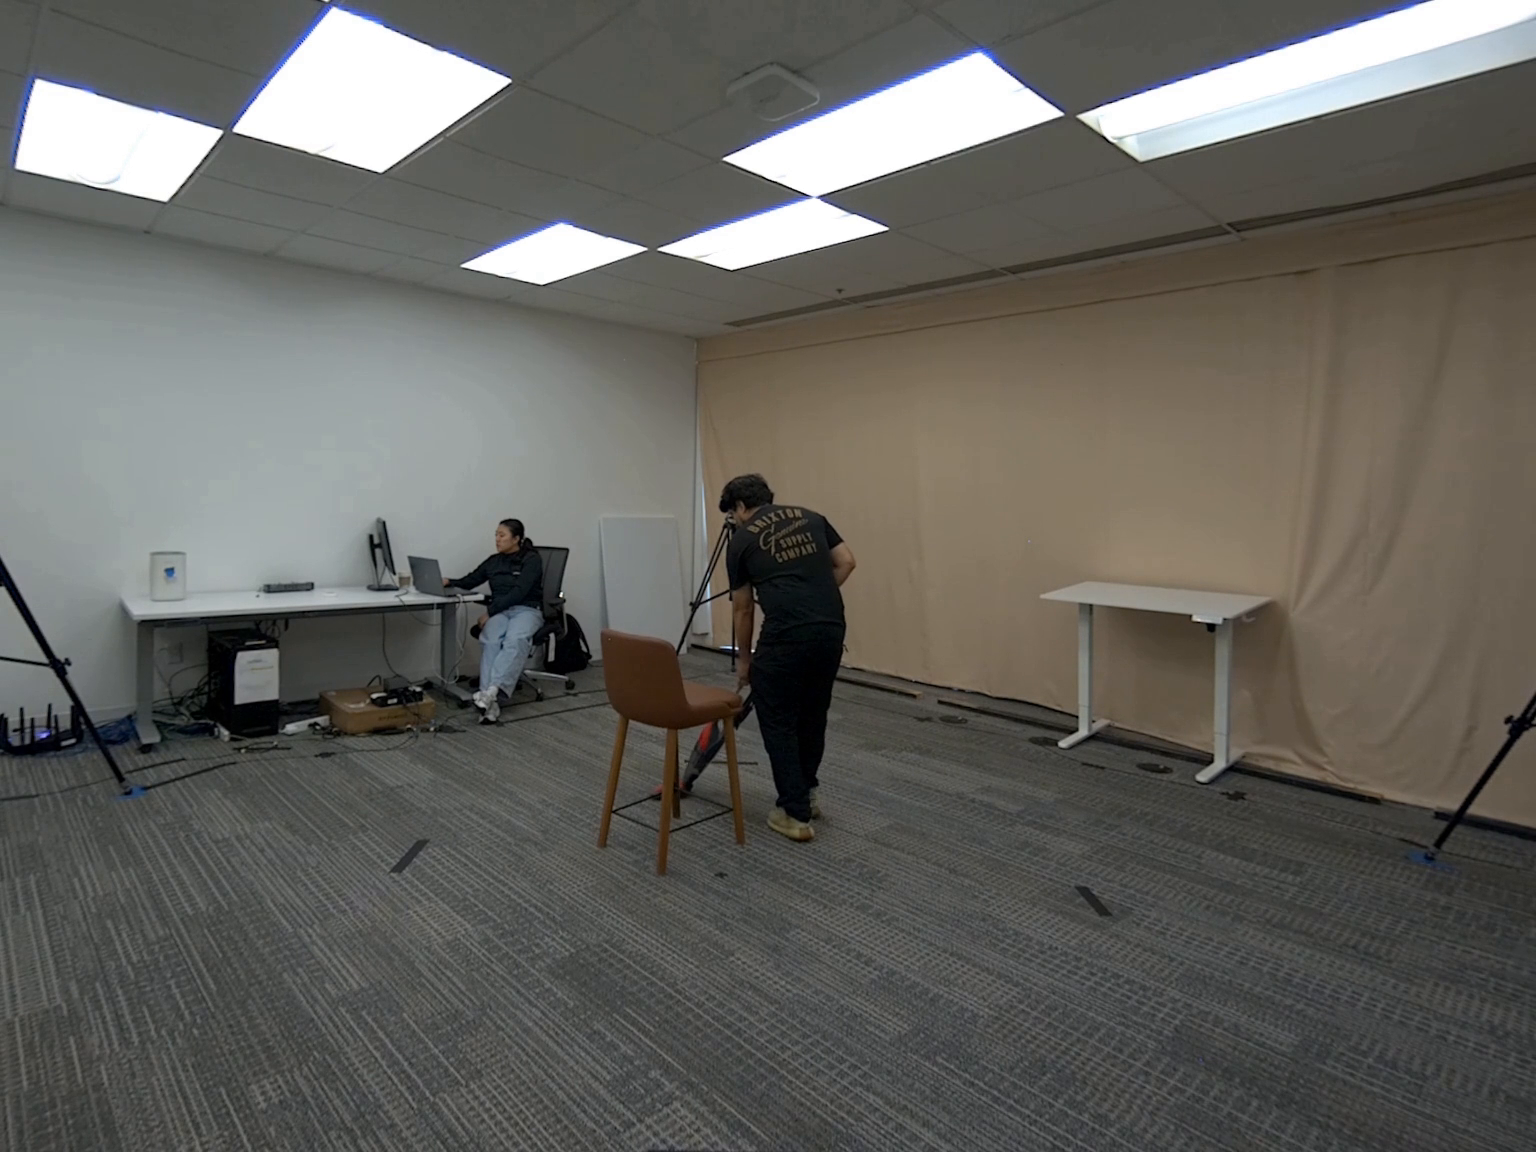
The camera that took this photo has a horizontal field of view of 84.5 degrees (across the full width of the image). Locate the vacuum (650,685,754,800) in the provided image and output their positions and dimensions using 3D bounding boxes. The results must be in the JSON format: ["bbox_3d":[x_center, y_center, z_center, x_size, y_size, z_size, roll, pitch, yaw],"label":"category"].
[{"bbox_3d":[-0.165,0.585,3.836,0.146,1.047,0.249,37,14,13],"label":"vacuum"}]
